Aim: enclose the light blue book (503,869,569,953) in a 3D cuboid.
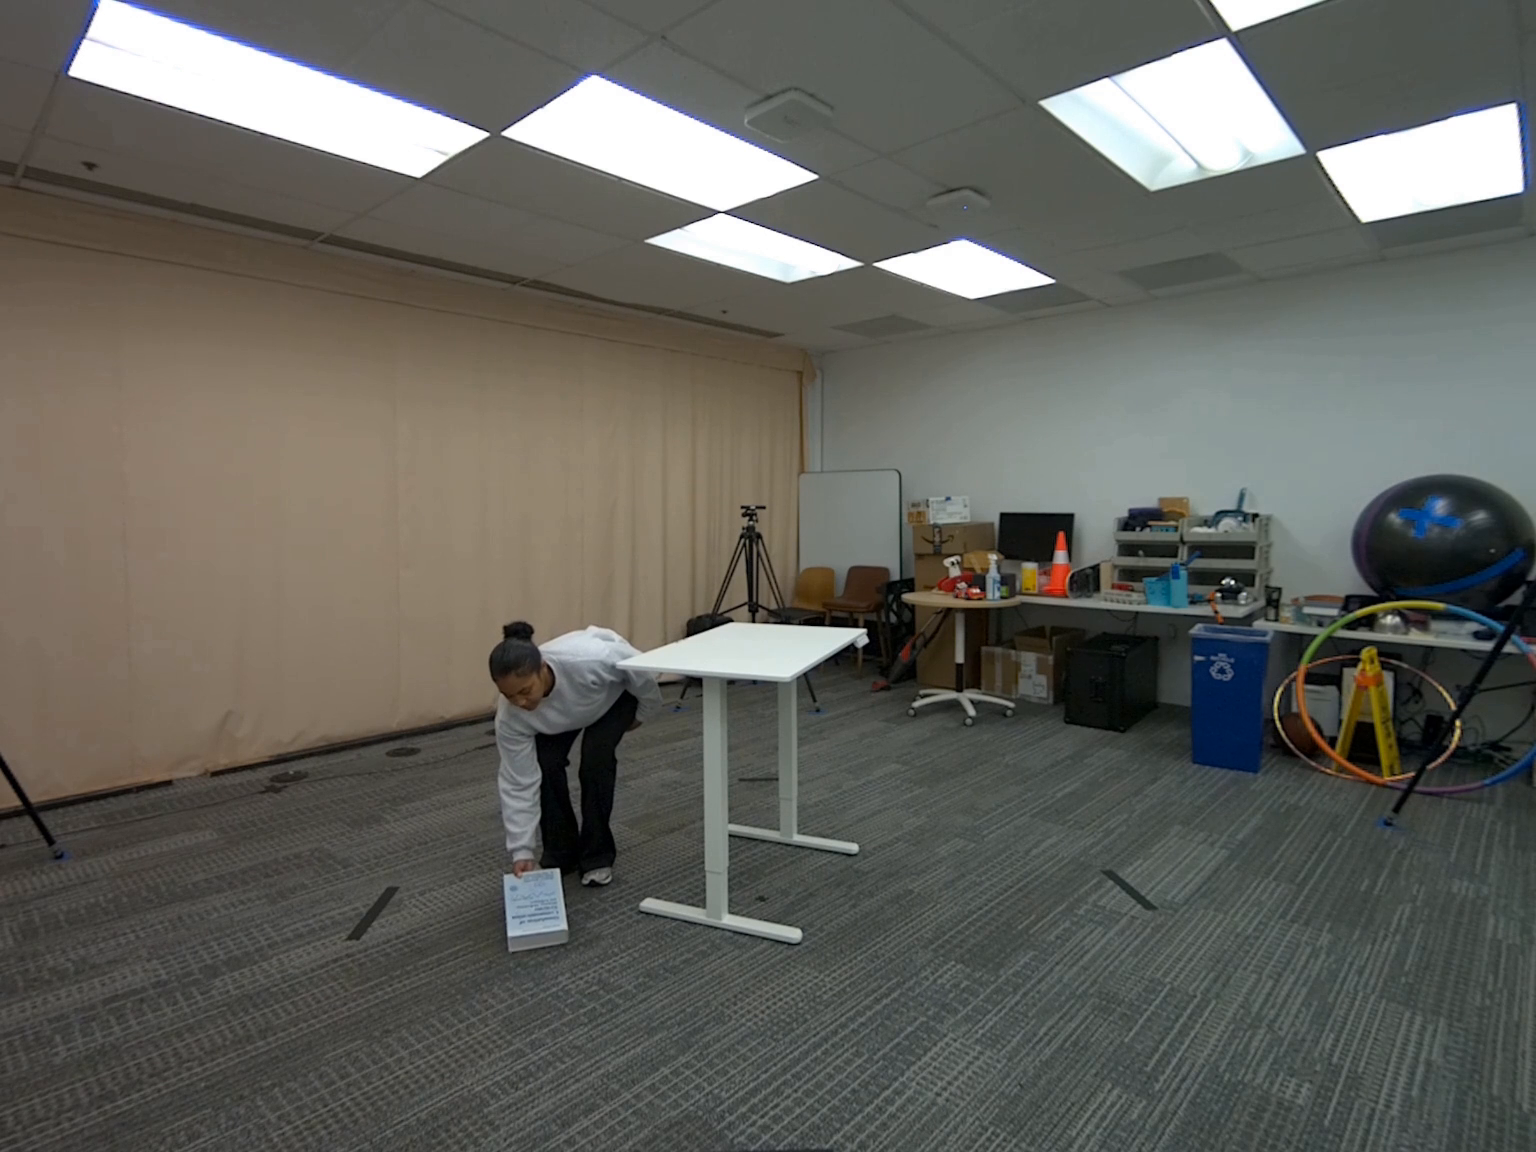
[{"bbox_3d":[-0.757,1.079,2.759,0.188,0.058,0.268,-2,25,-17],"label":"light blue book"}]
